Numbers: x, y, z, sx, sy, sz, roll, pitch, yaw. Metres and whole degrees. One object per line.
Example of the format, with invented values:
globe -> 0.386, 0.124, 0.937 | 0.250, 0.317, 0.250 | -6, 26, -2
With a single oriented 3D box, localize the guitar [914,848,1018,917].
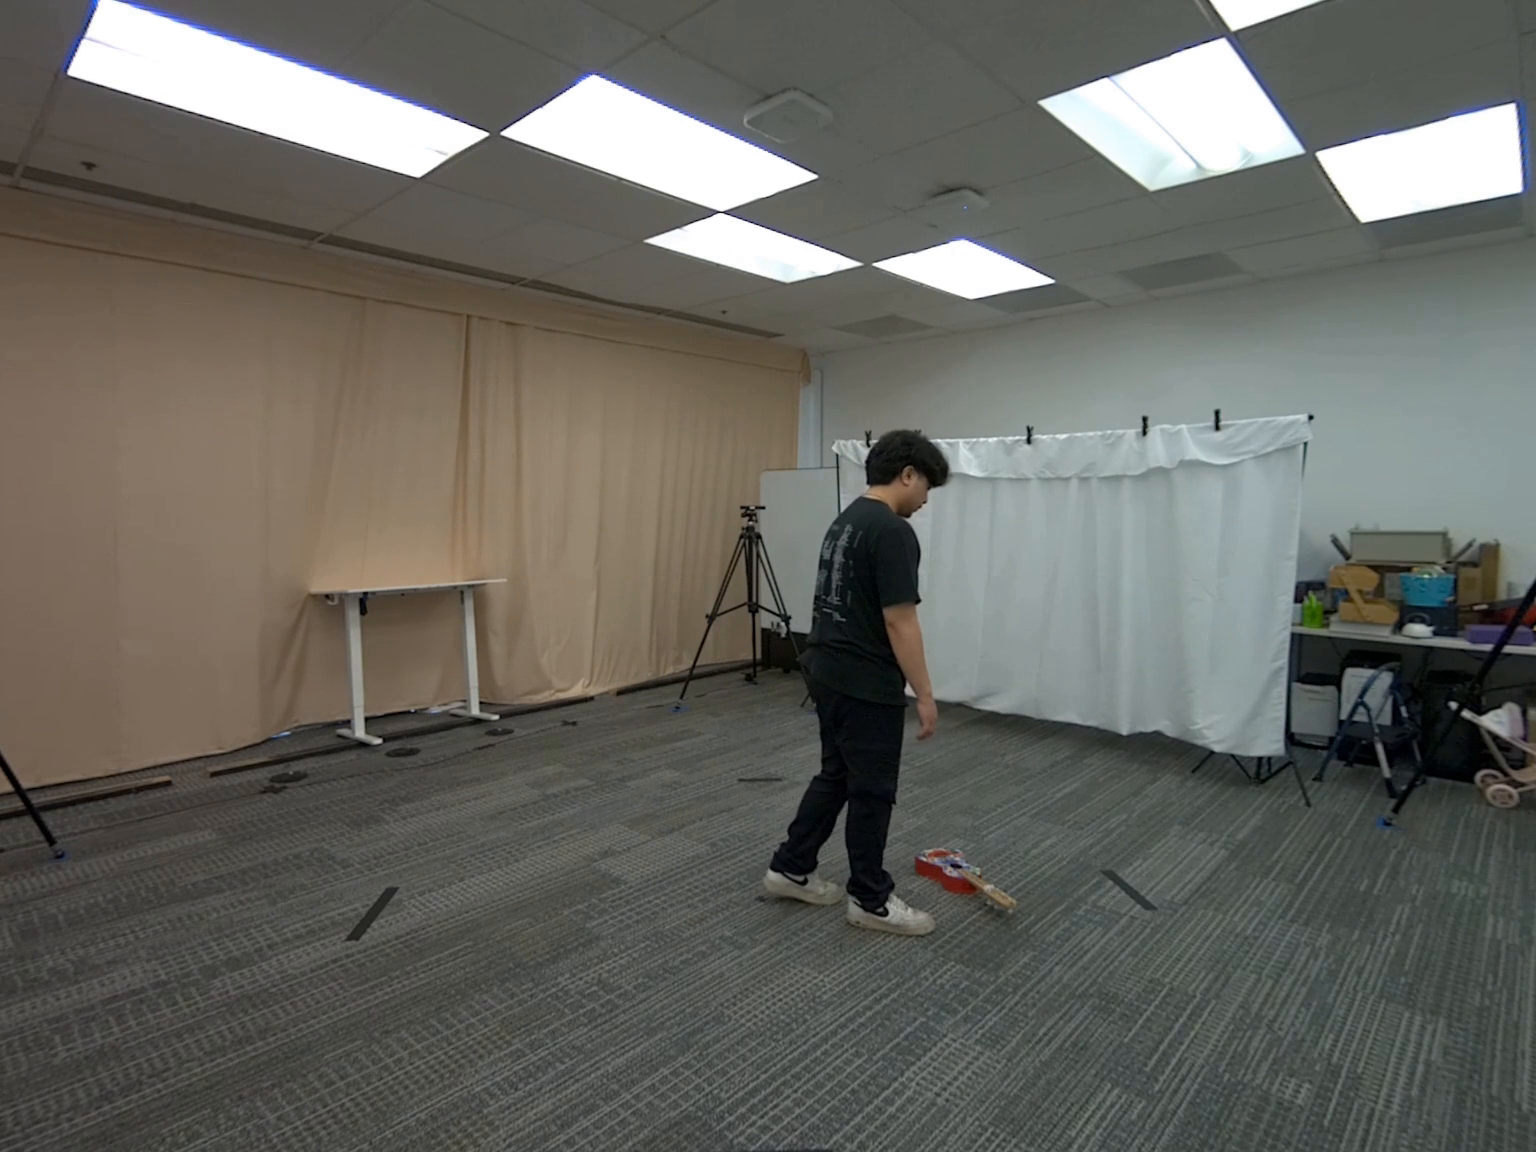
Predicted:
guitar -> 0.704, 1.103, 3.037 | 0.191, 0.070, 0.504 | 0, 4, -12
